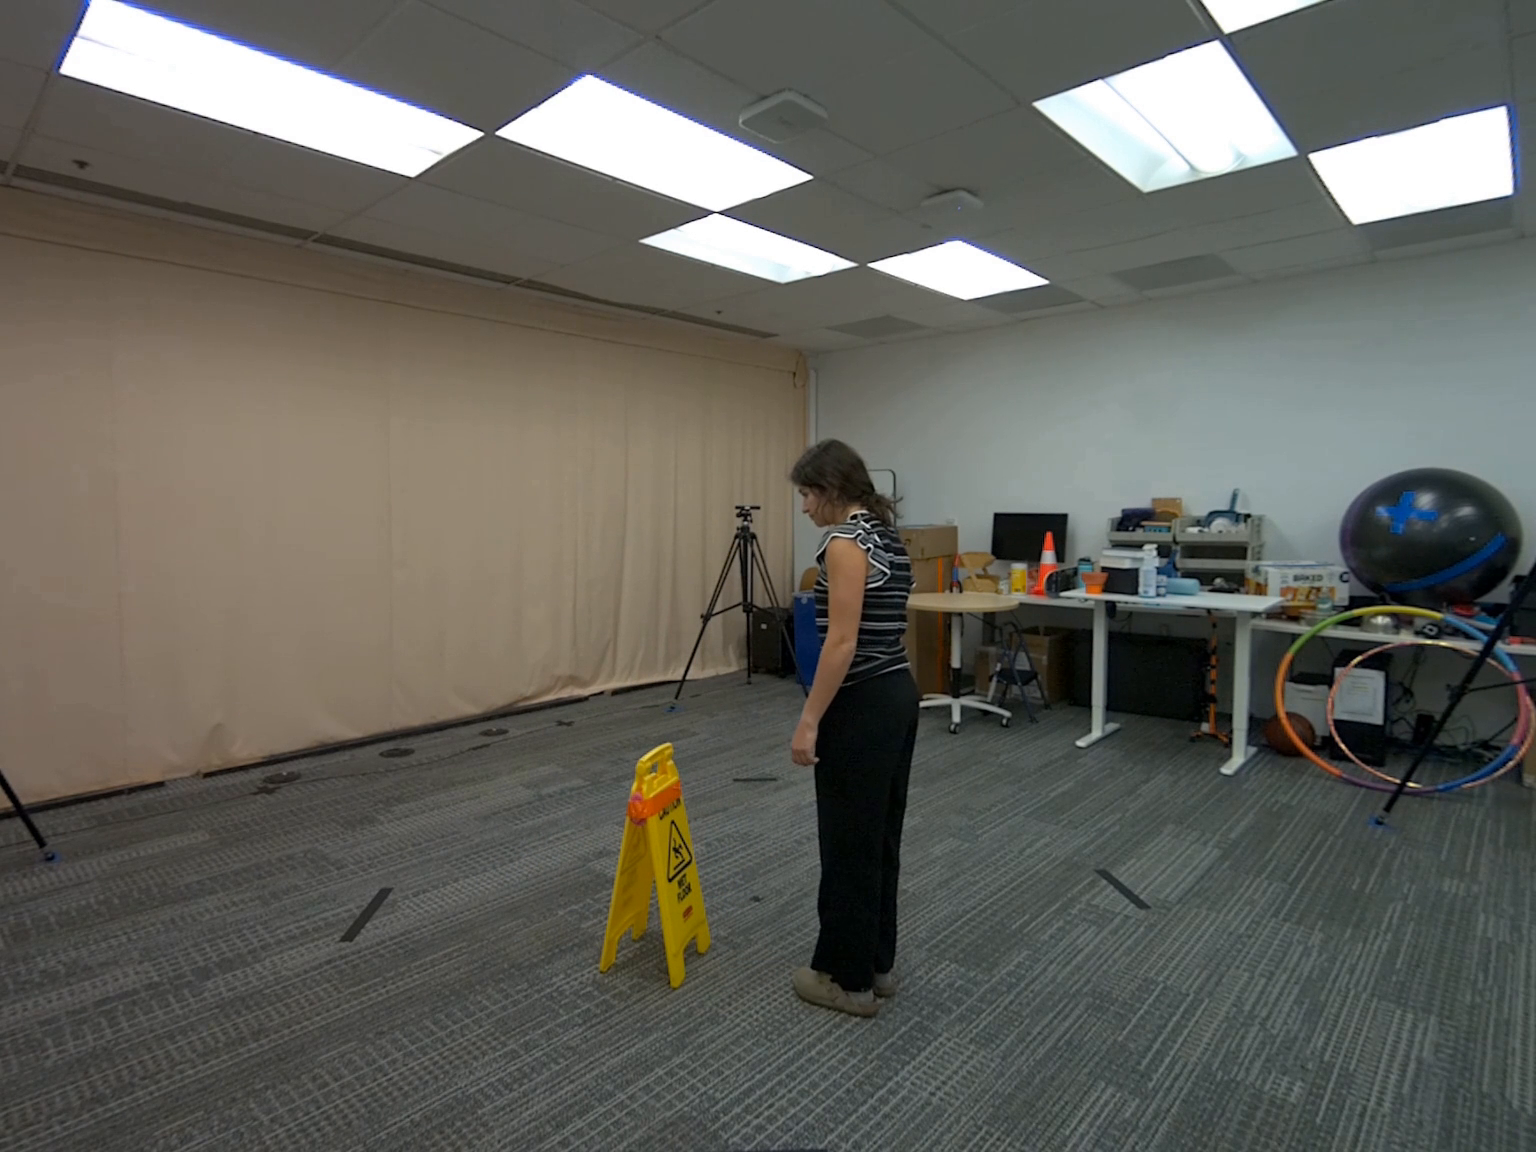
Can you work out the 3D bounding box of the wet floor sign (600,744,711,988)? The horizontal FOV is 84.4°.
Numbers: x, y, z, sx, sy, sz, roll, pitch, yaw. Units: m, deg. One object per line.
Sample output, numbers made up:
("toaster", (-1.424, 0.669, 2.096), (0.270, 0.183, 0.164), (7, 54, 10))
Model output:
("wet floor sign", (-0.346, 0.858, 2.578), (0.296, 0.645, 0.276), (0, 2, 20))
